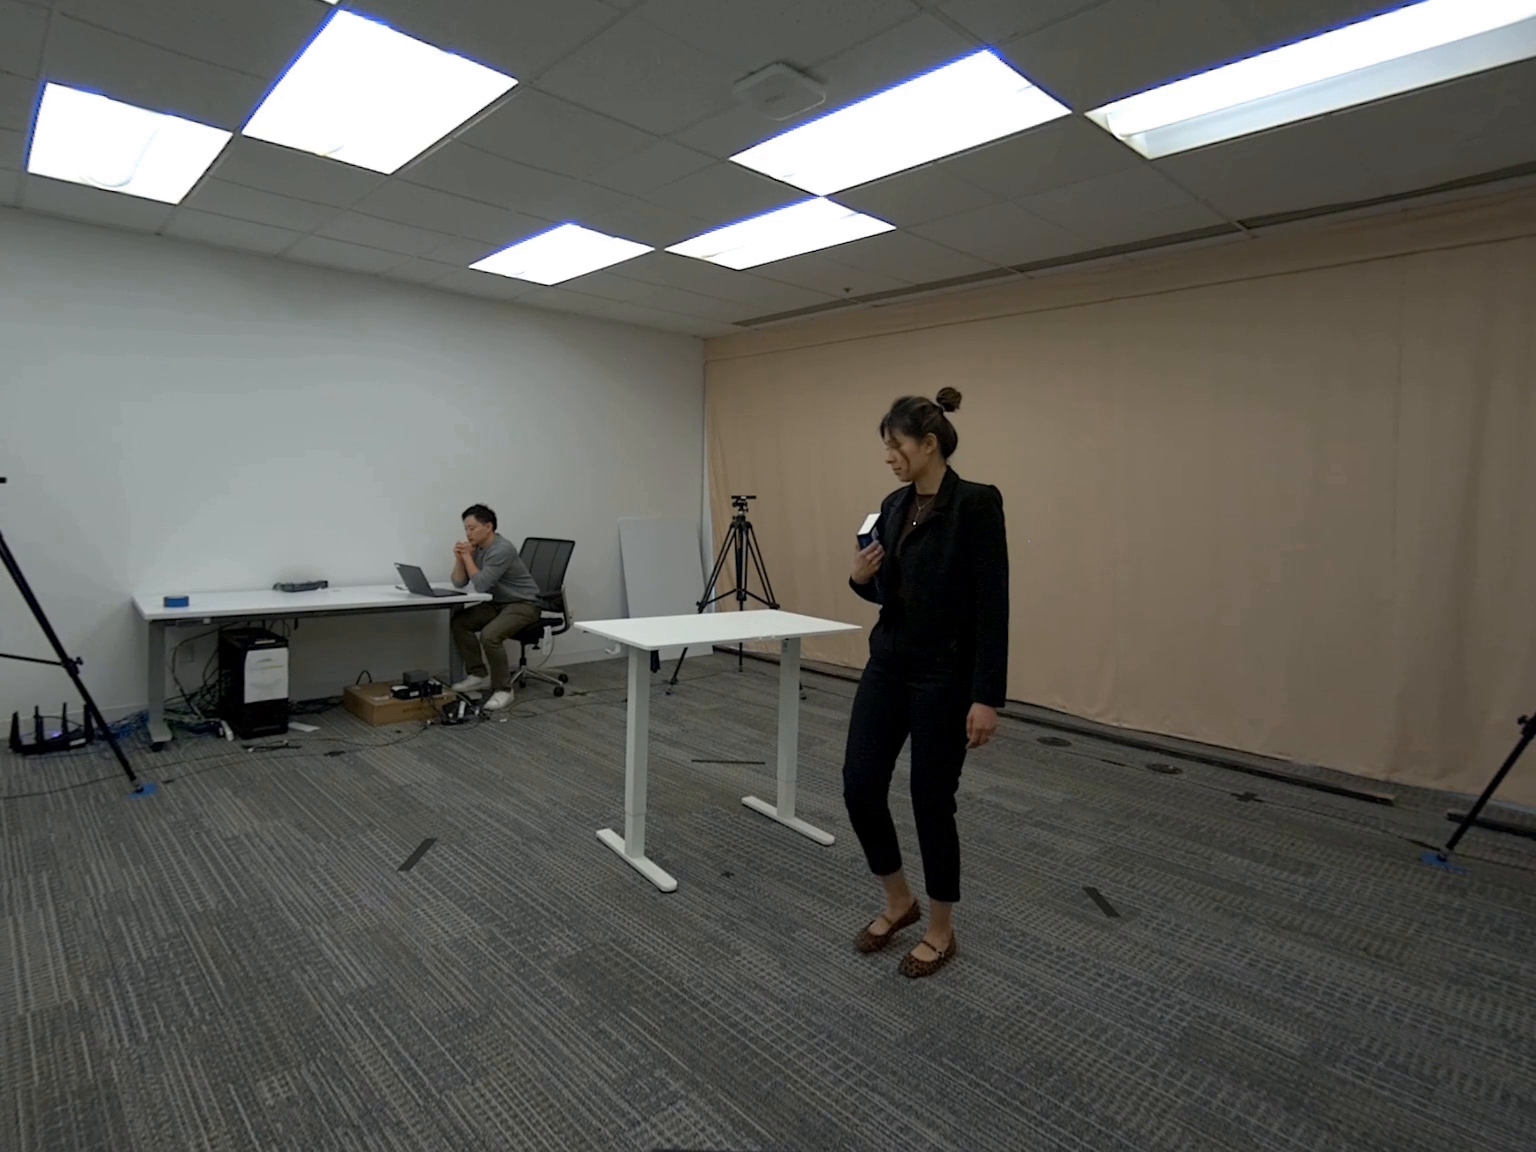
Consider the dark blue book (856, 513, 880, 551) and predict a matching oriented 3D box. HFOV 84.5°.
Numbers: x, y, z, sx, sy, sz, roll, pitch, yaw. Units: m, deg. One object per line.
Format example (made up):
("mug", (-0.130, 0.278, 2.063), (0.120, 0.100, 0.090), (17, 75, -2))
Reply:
("dark blue book", (0.335, -0.051, 2.621), (0.046, 0.241, 0.164), (-12, 21, 25))
